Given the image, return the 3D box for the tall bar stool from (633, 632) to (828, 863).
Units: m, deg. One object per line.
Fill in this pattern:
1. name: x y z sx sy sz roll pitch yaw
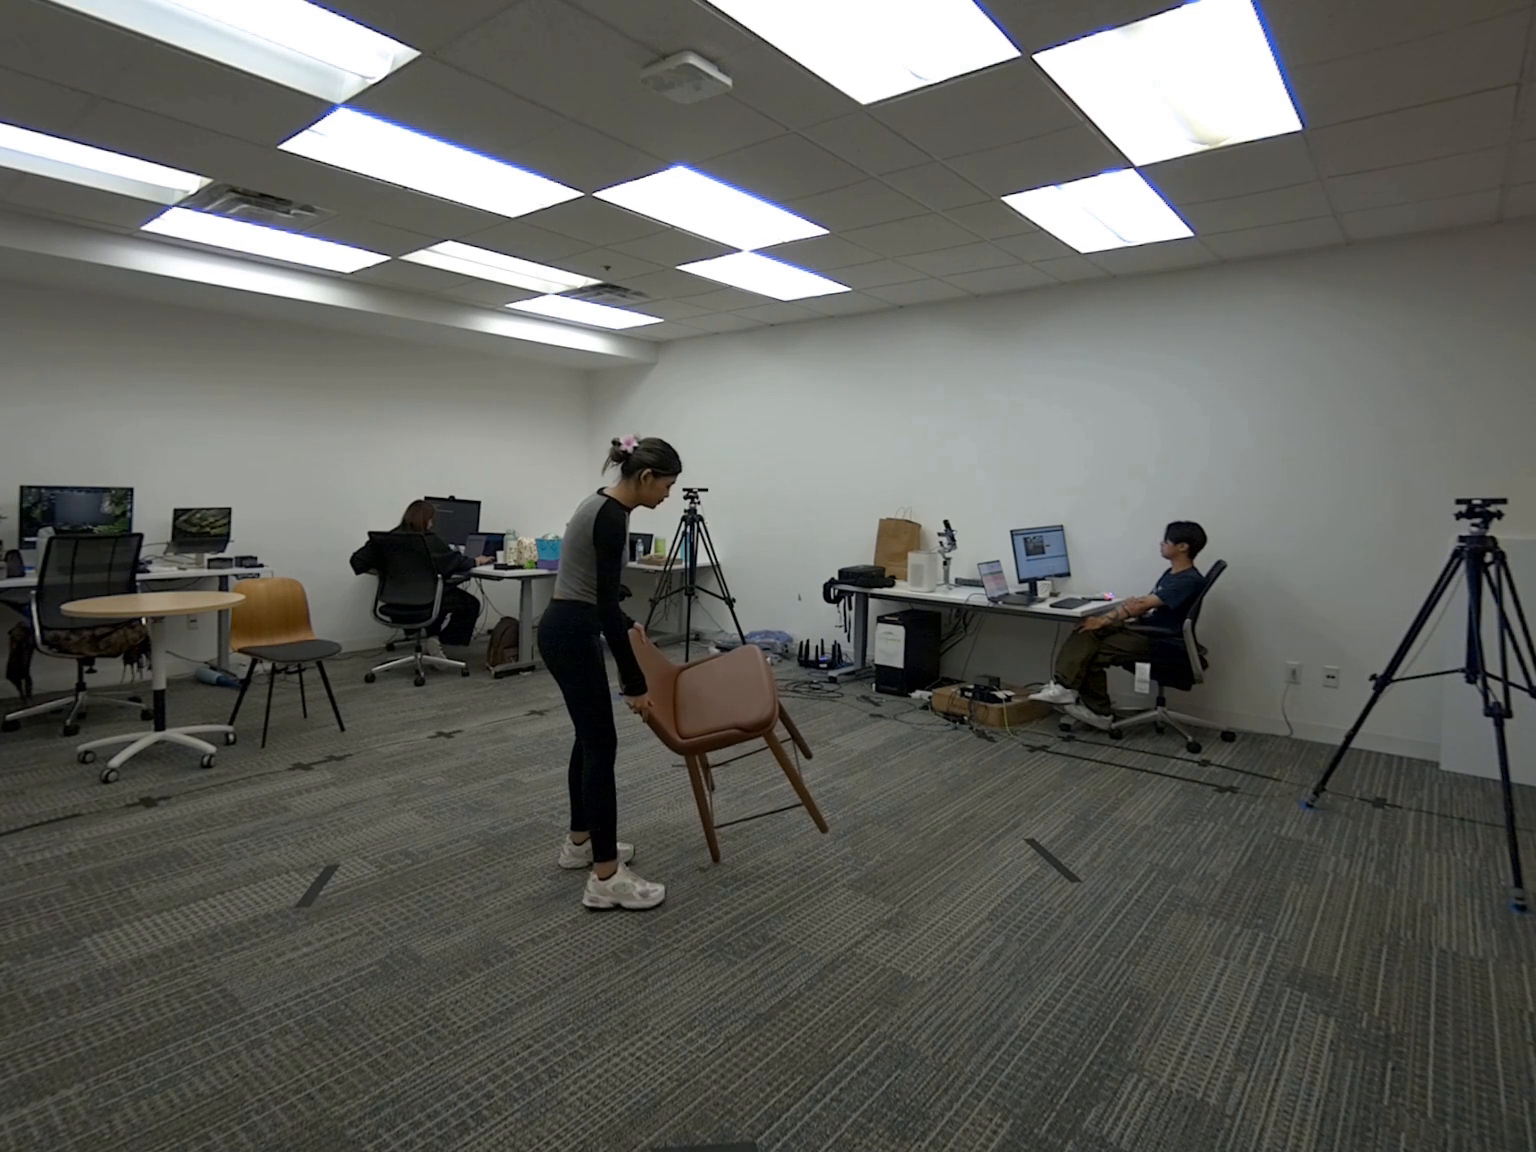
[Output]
1. tall bar stool: -0.160 0.563 3.118 0.470 0.861 0.469 -20 29 7
